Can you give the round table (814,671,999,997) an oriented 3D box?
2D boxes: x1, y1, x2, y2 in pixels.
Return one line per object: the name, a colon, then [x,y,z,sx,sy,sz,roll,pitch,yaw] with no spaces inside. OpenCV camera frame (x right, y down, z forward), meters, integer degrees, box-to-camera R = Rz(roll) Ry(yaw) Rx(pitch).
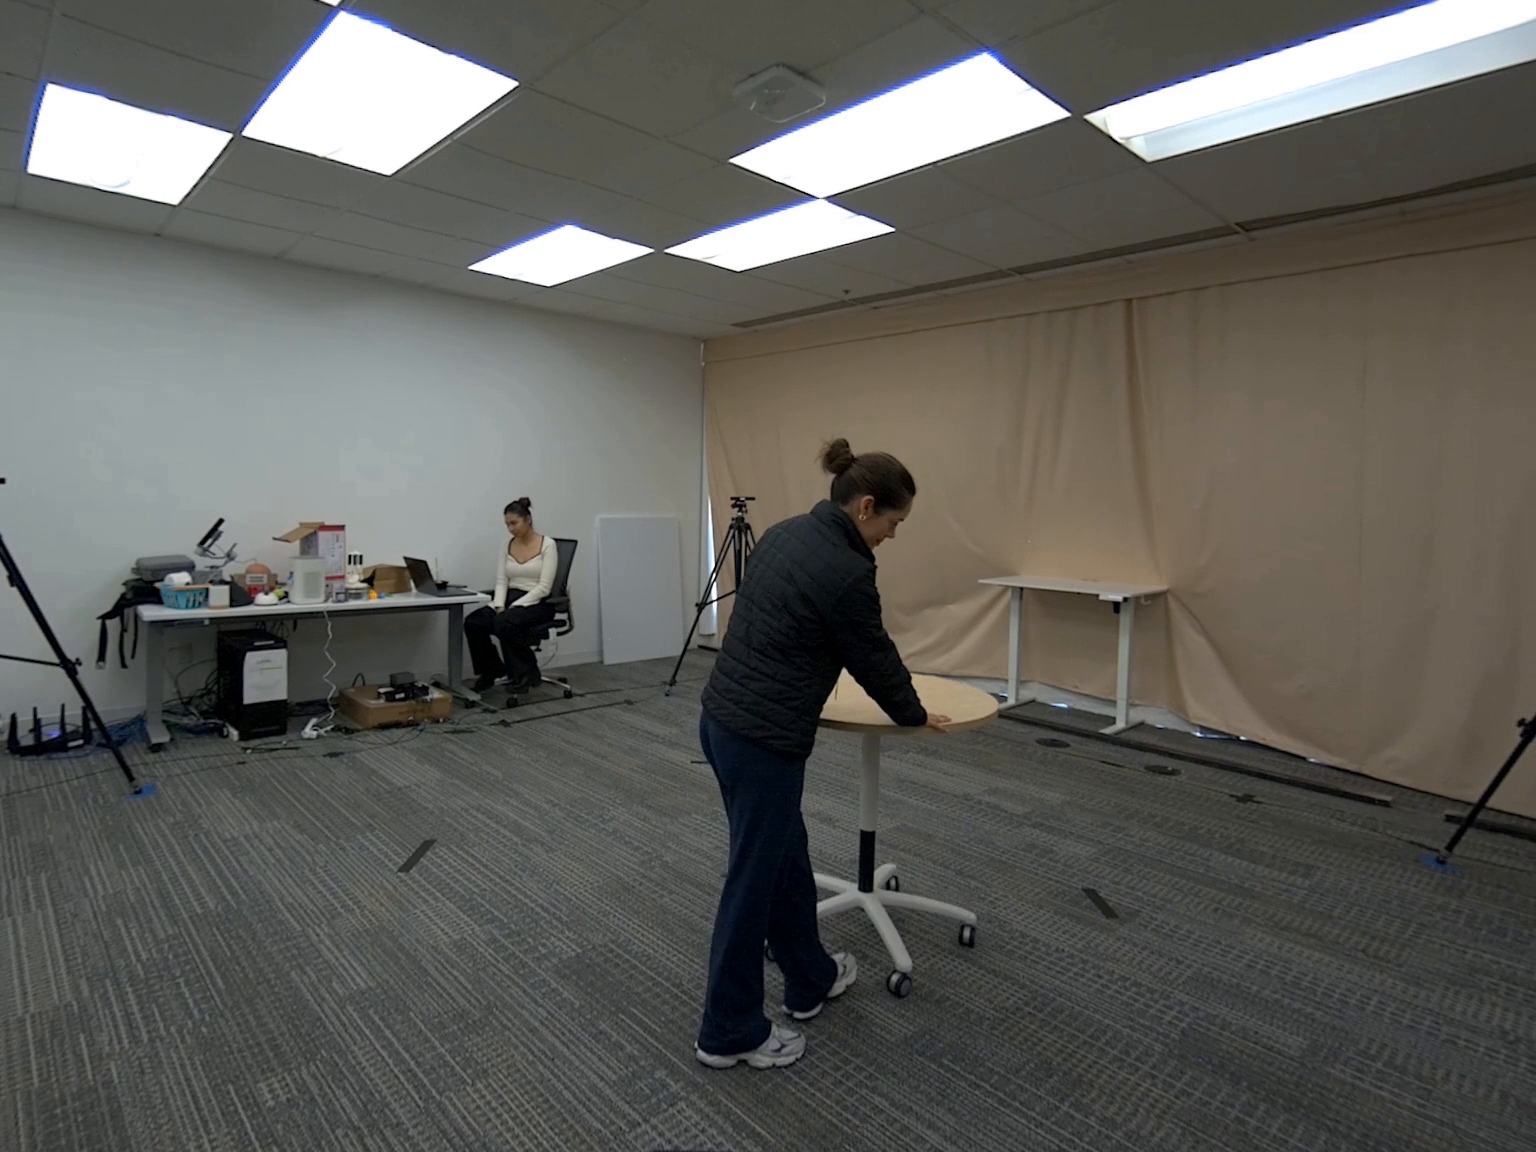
round table: [0.322,0.766,2.679,0.784,0.784,0.788,1,4,-1]
